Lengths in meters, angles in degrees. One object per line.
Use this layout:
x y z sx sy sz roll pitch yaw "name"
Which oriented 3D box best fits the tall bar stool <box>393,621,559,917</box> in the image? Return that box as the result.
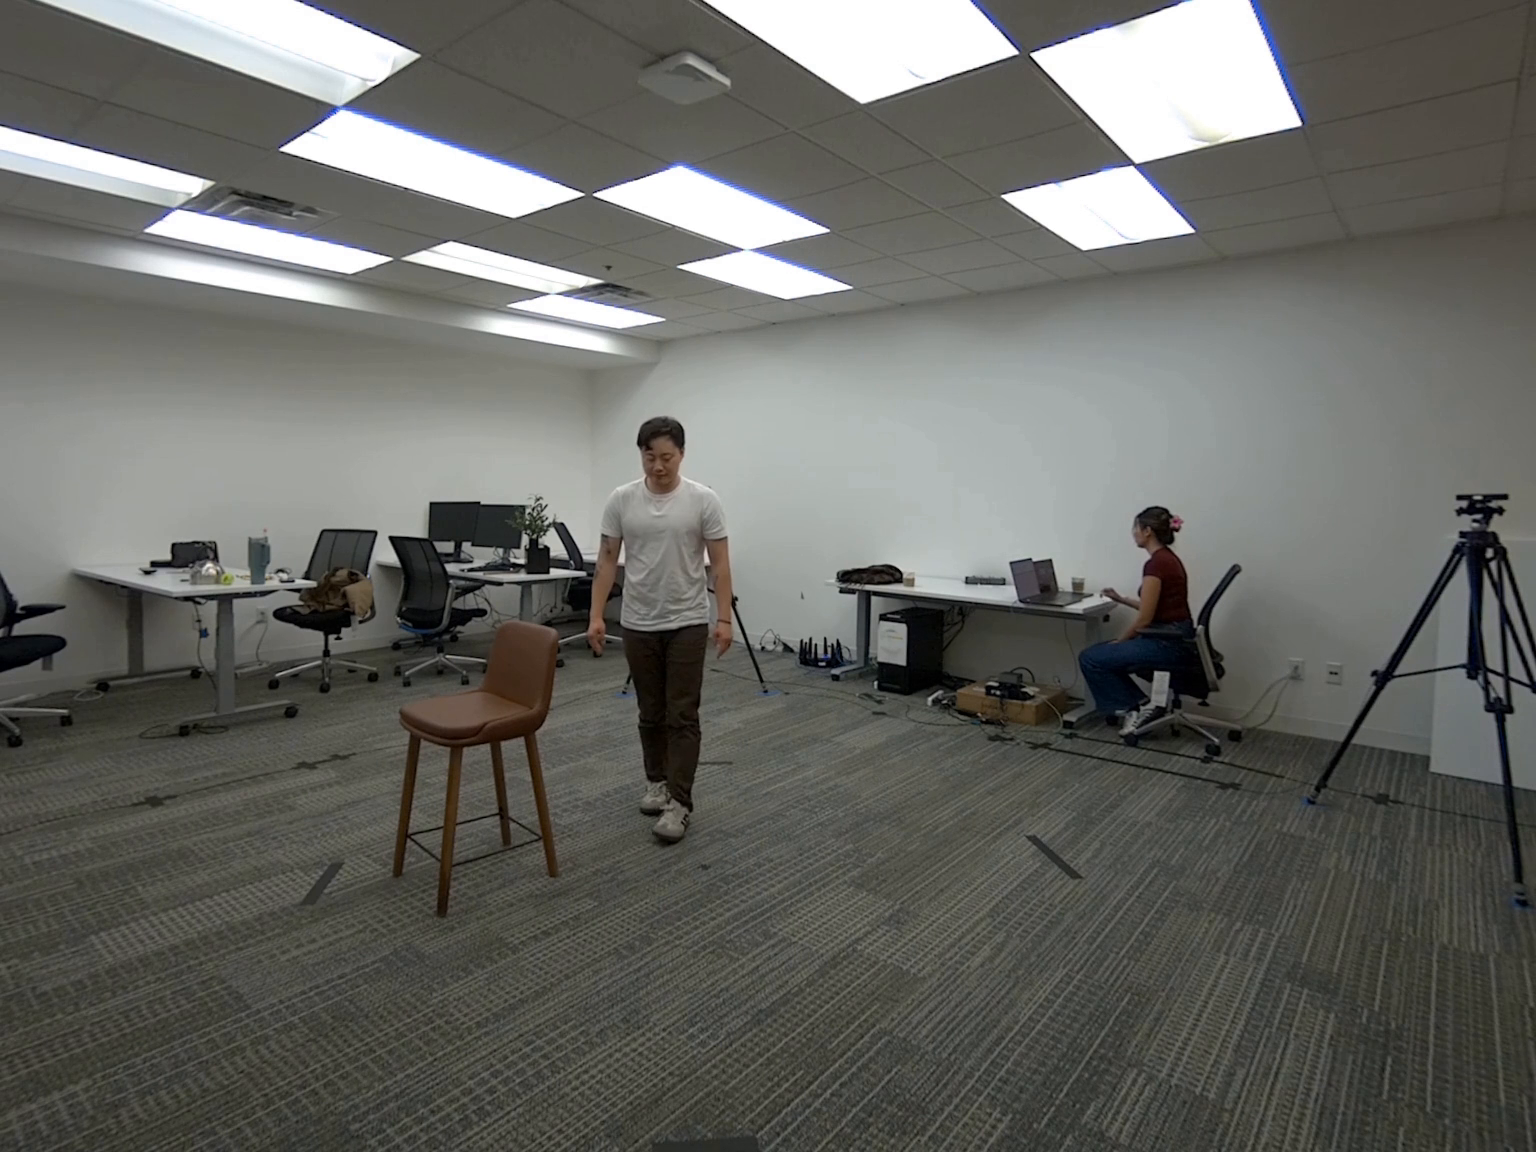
-1.038 0.630 3.005 0.453 0.888 0.472 0 2 -44 "tall bar stool"
